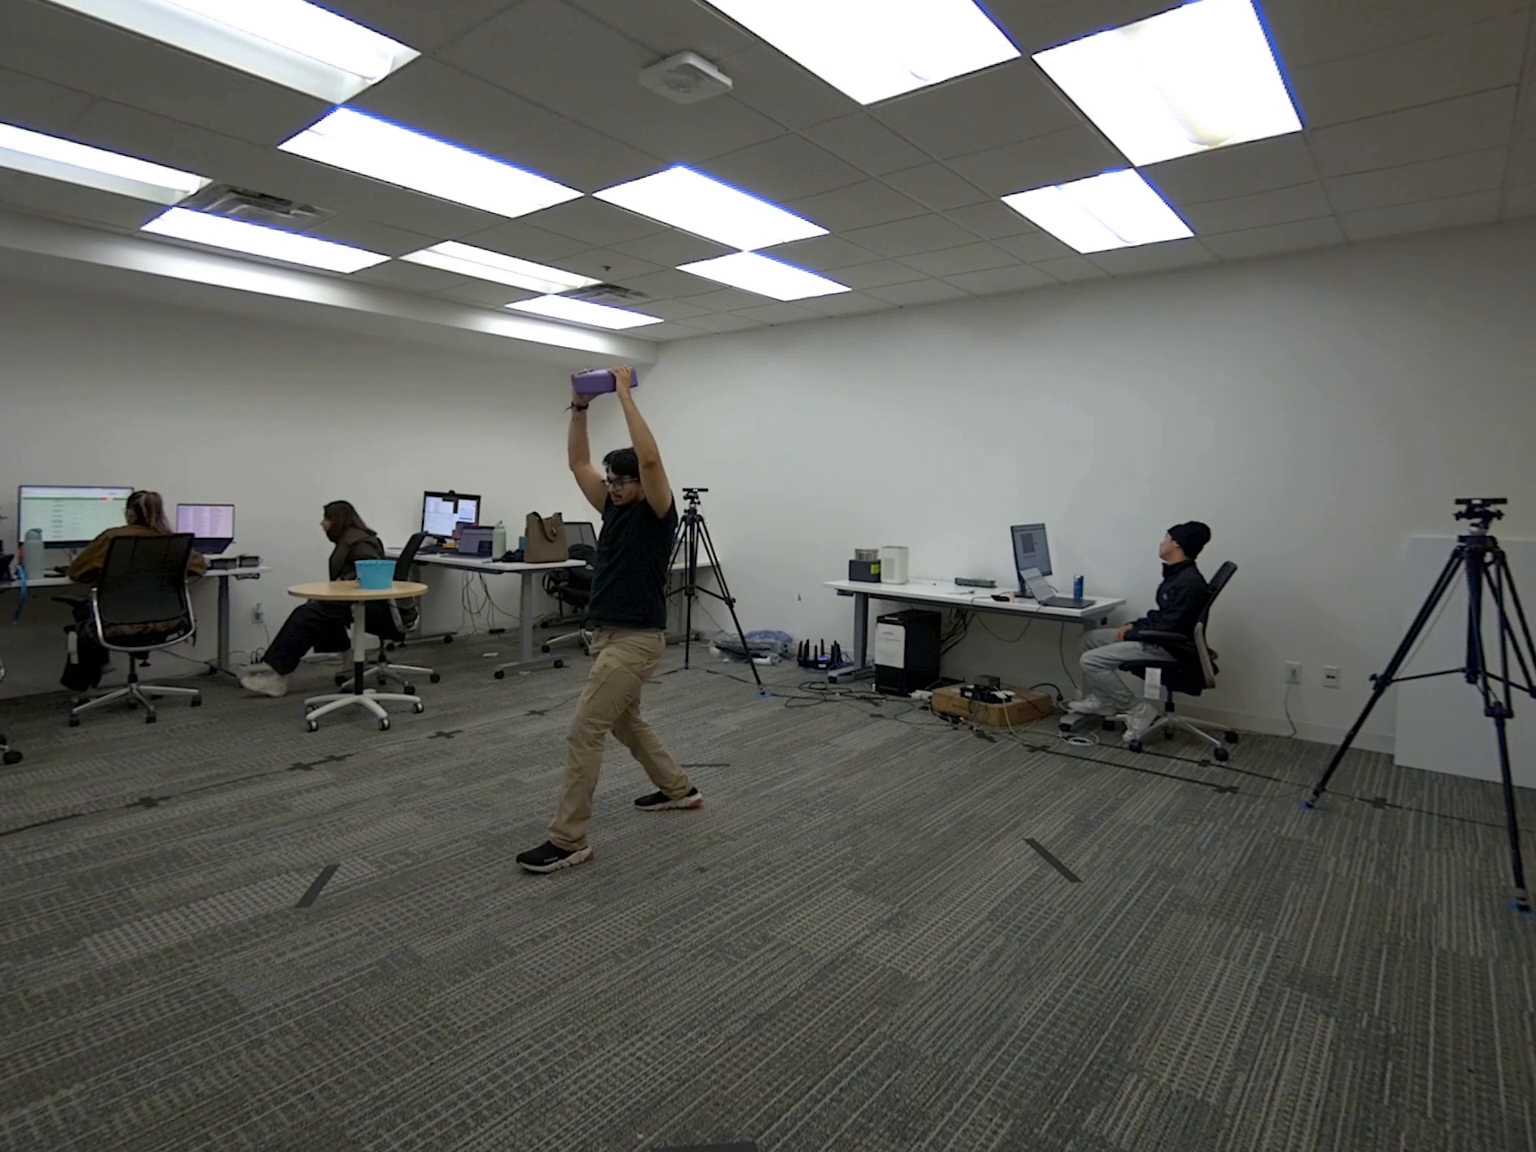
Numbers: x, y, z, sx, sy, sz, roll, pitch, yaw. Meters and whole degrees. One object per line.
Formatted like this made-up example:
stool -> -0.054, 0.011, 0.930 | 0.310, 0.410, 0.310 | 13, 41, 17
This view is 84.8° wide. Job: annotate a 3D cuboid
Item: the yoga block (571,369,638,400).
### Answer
yoga block -> -0.654, -0.776, 3.358 | 0.237, 0.075, 0.147 | 7, 24, 38
